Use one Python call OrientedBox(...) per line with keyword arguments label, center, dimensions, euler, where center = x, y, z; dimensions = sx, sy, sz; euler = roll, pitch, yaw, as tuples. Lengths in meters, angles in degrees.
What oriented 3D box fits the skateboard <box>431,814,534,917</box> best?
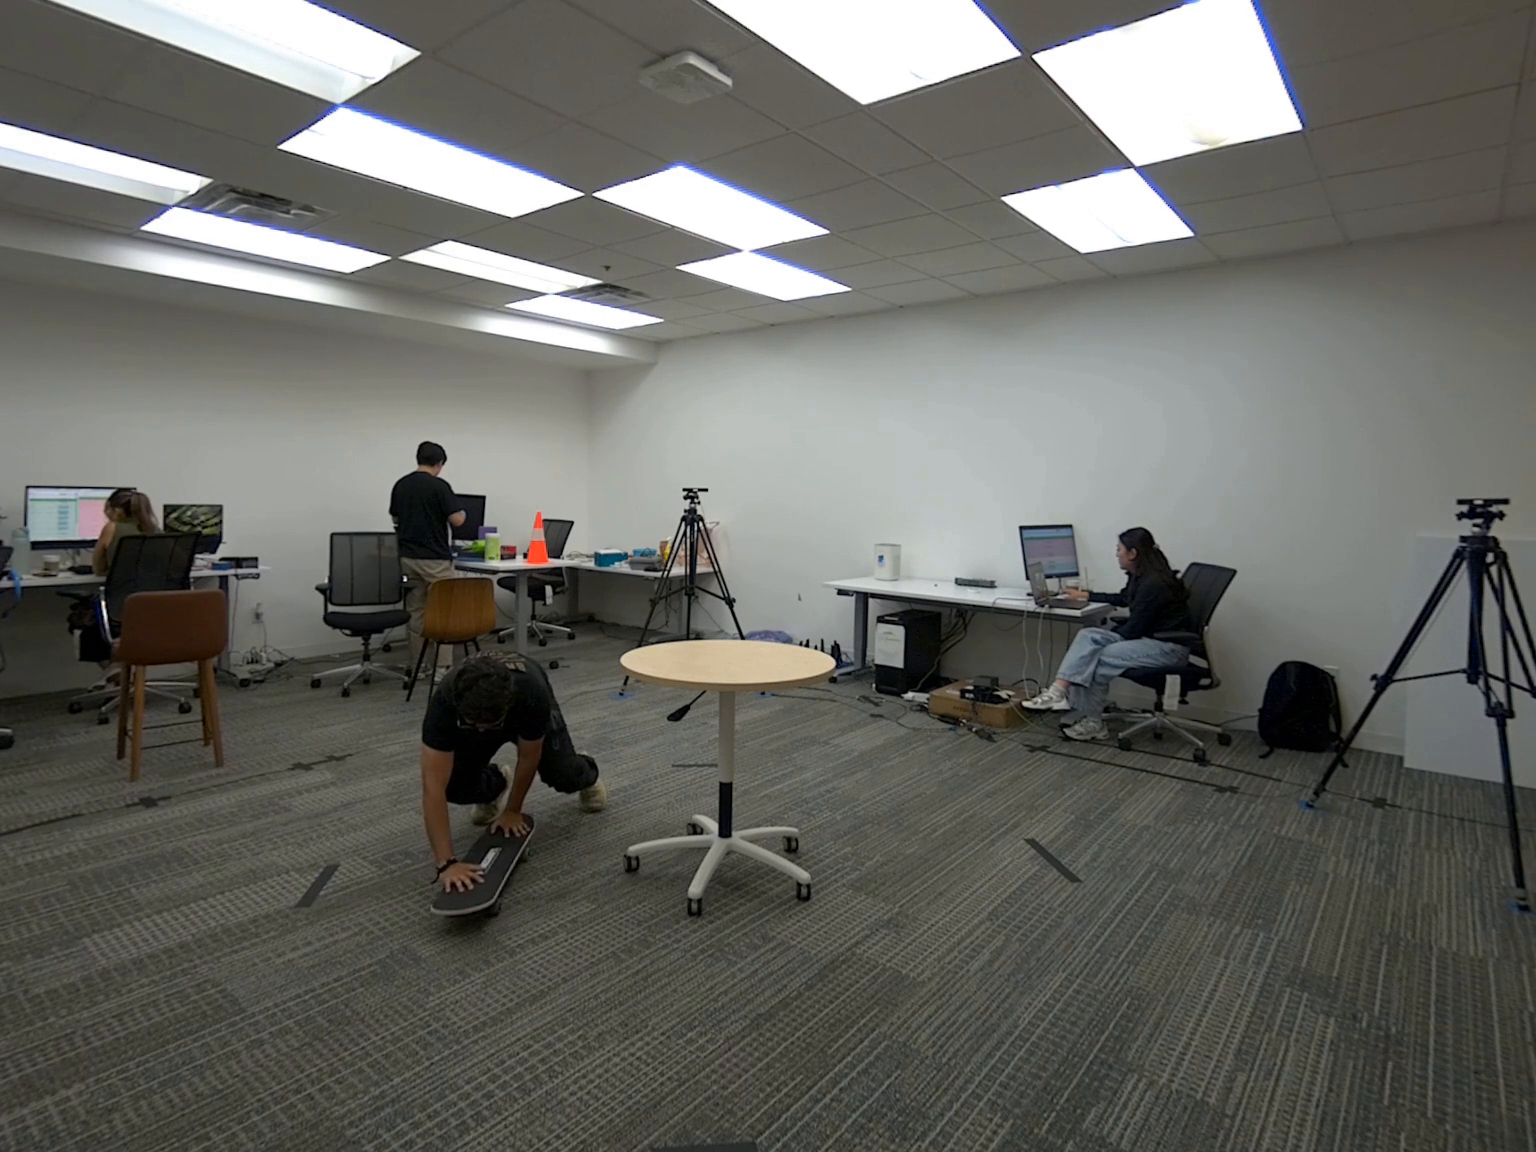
OrientedBox(label="skateboard", center=(-0.983, 1.018, 2.953), dimensions=(0.193, 0.110, 0.788), euler=(-2, 5, -1))
